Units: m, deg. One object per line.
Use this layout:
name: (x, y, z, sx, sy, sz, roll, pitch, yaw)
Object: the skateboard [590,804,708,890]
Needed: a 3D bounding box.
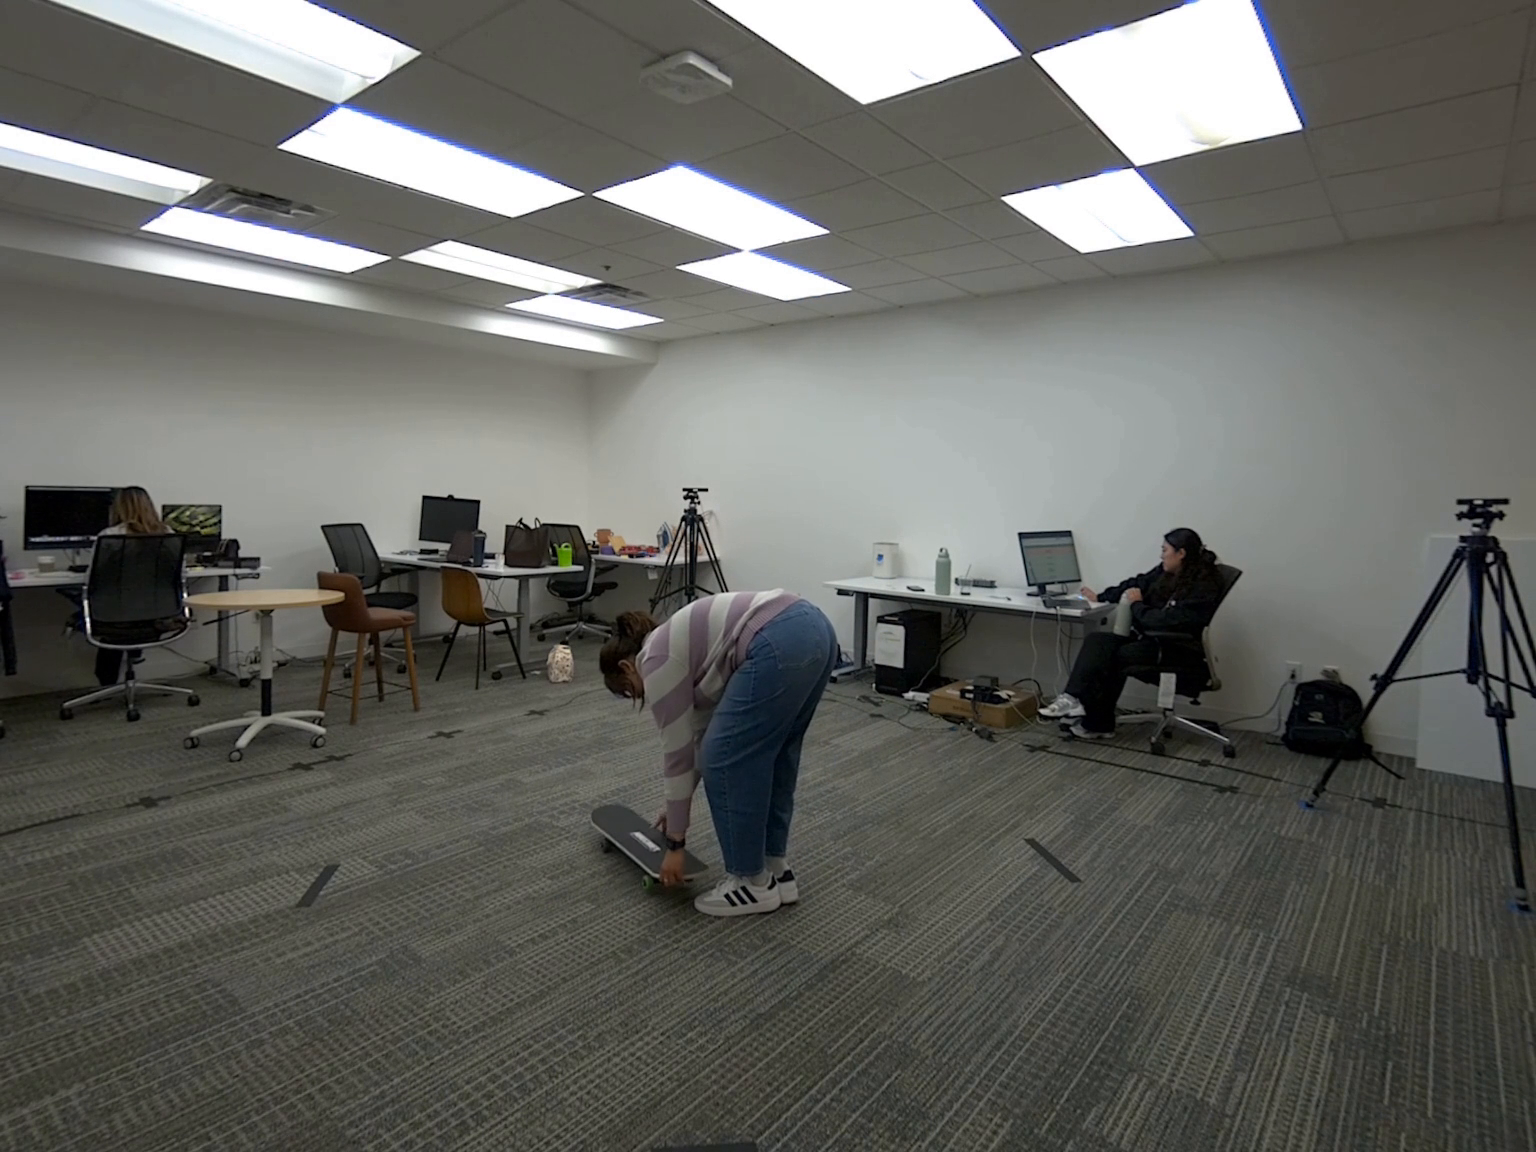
skateboard: (-0.466, 0.998, 3.100, 0.188, 0.110, 0.809, -1, 4, -30)
